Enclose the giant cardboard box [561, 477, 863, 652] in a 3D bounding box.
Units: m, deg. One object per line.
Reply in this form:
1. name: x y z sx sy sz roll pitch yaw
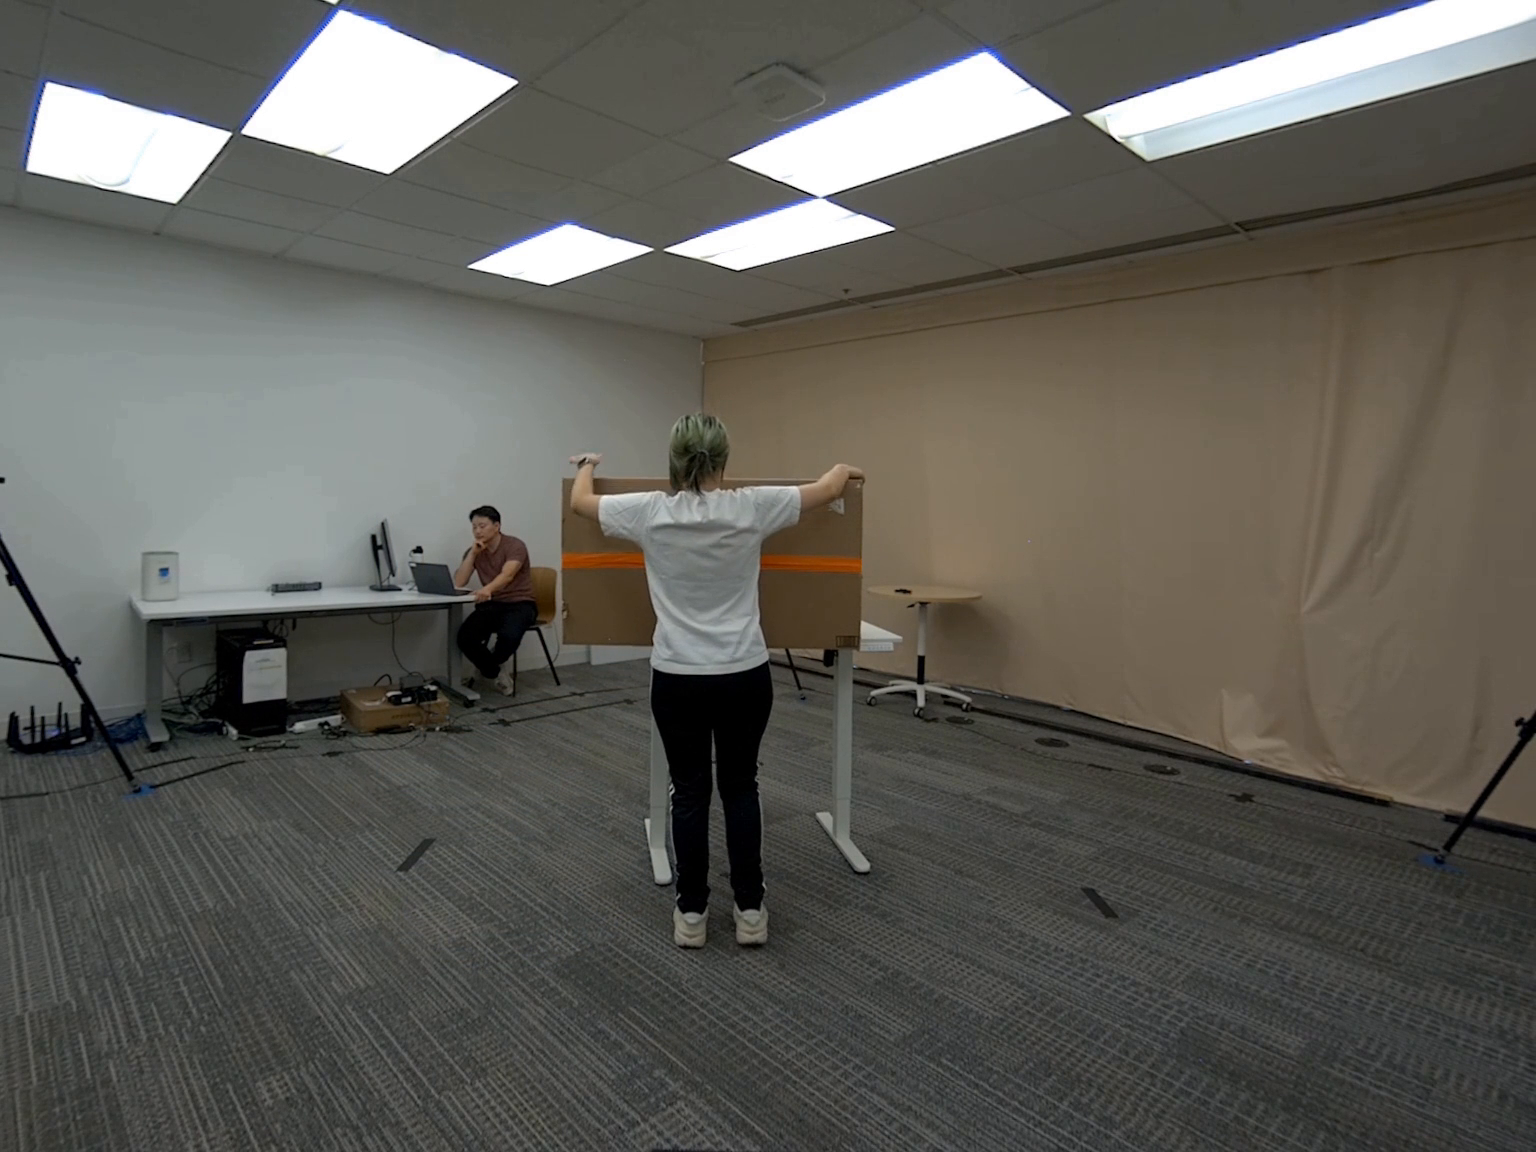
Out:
1. giant cardboard box: -0.203 -0.065 3.059 1.028 0.582 0.448 1 4 1
